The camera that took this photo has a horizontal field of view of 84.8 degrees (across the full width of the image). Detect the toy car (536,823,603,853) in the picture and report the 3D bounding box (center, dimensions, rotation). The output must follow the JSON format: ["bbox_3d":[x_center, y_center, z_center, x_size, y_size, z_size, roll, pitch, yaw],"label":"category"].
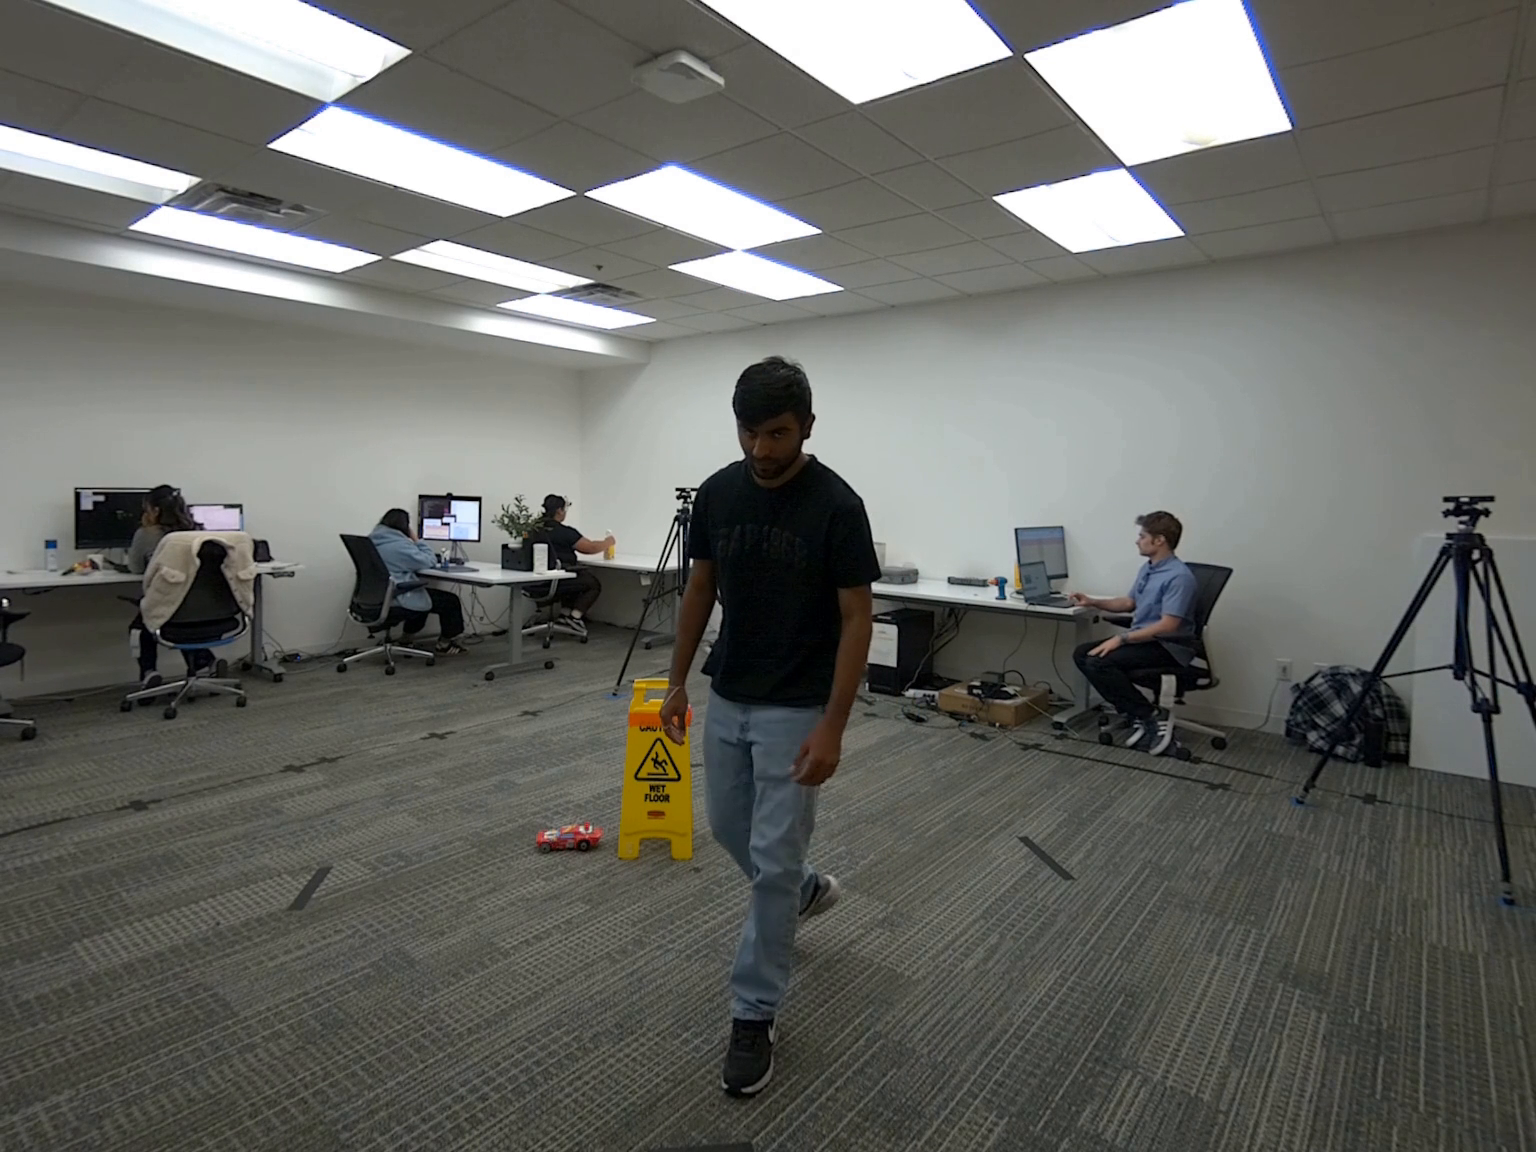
[{"bbox_3d":[-0.776,1.013,3.286,0.253,0.083,0.132,-11,7,-7],"label":"toy car"}]
